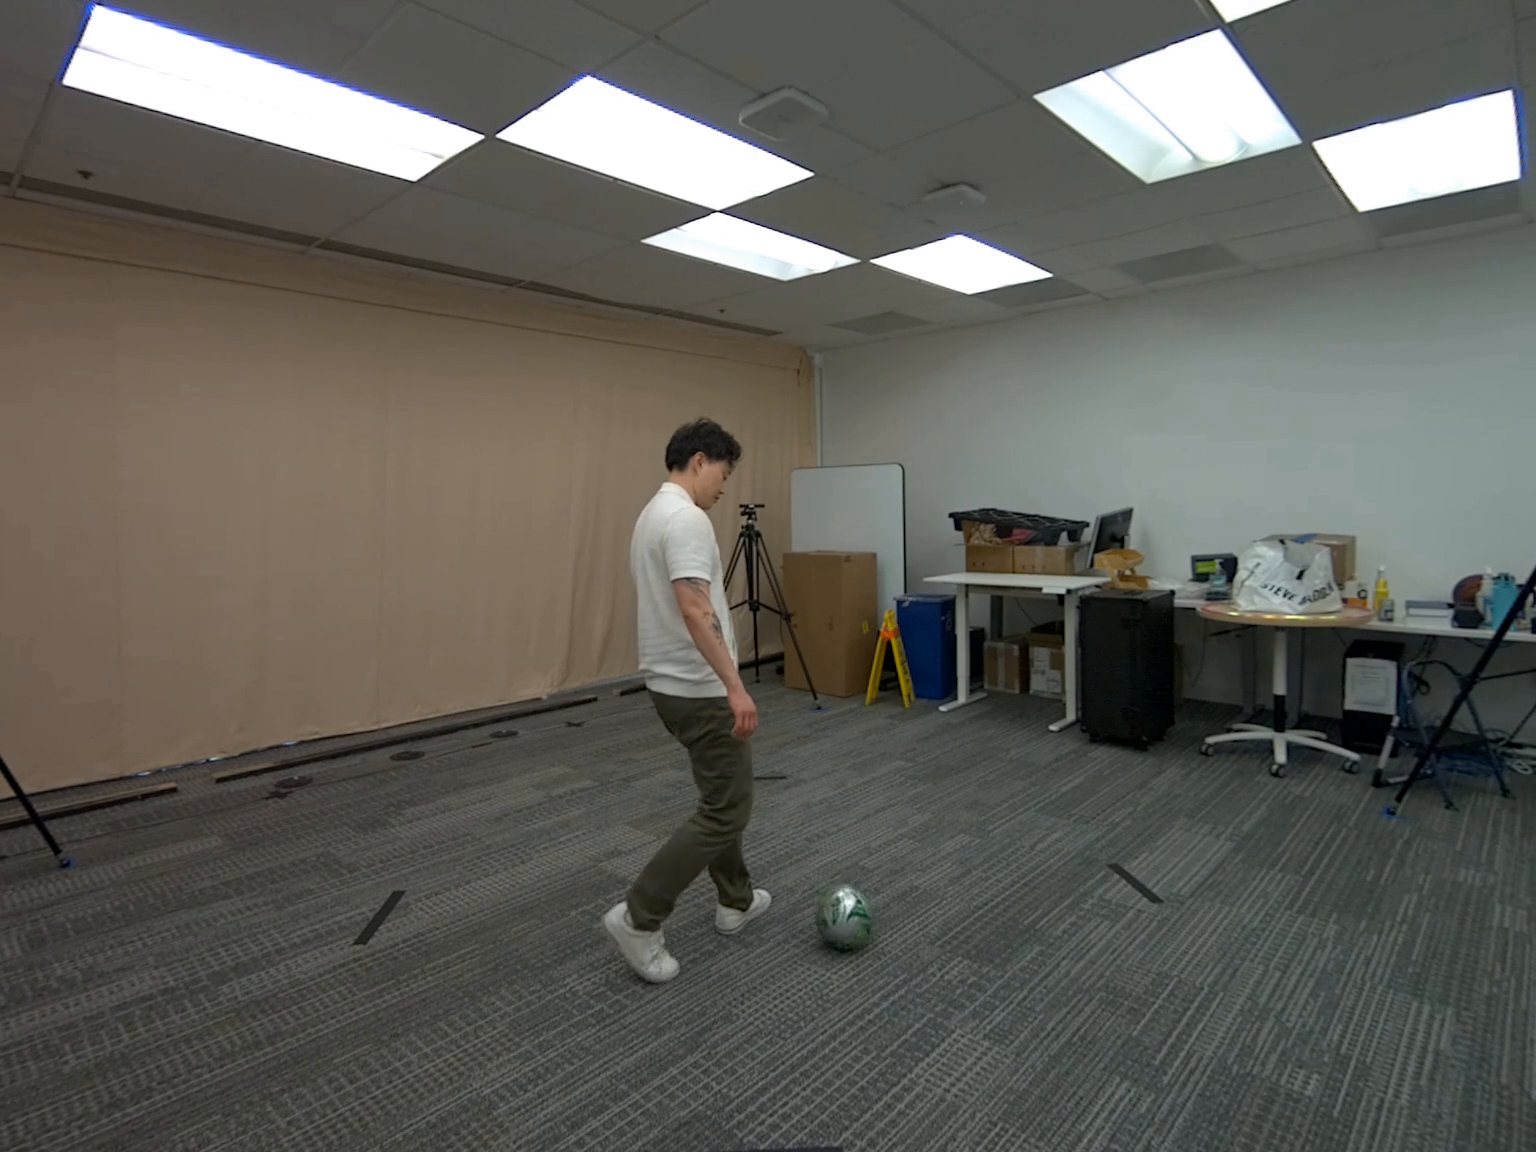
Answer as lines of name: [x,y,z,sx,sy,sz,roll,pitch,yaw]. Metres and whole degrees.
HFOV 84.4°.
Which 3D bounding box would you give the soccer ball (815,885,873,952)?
soccer ball: [0.245,1.070,2.650,0.187,0.187,0.188,-1,4,-2]
